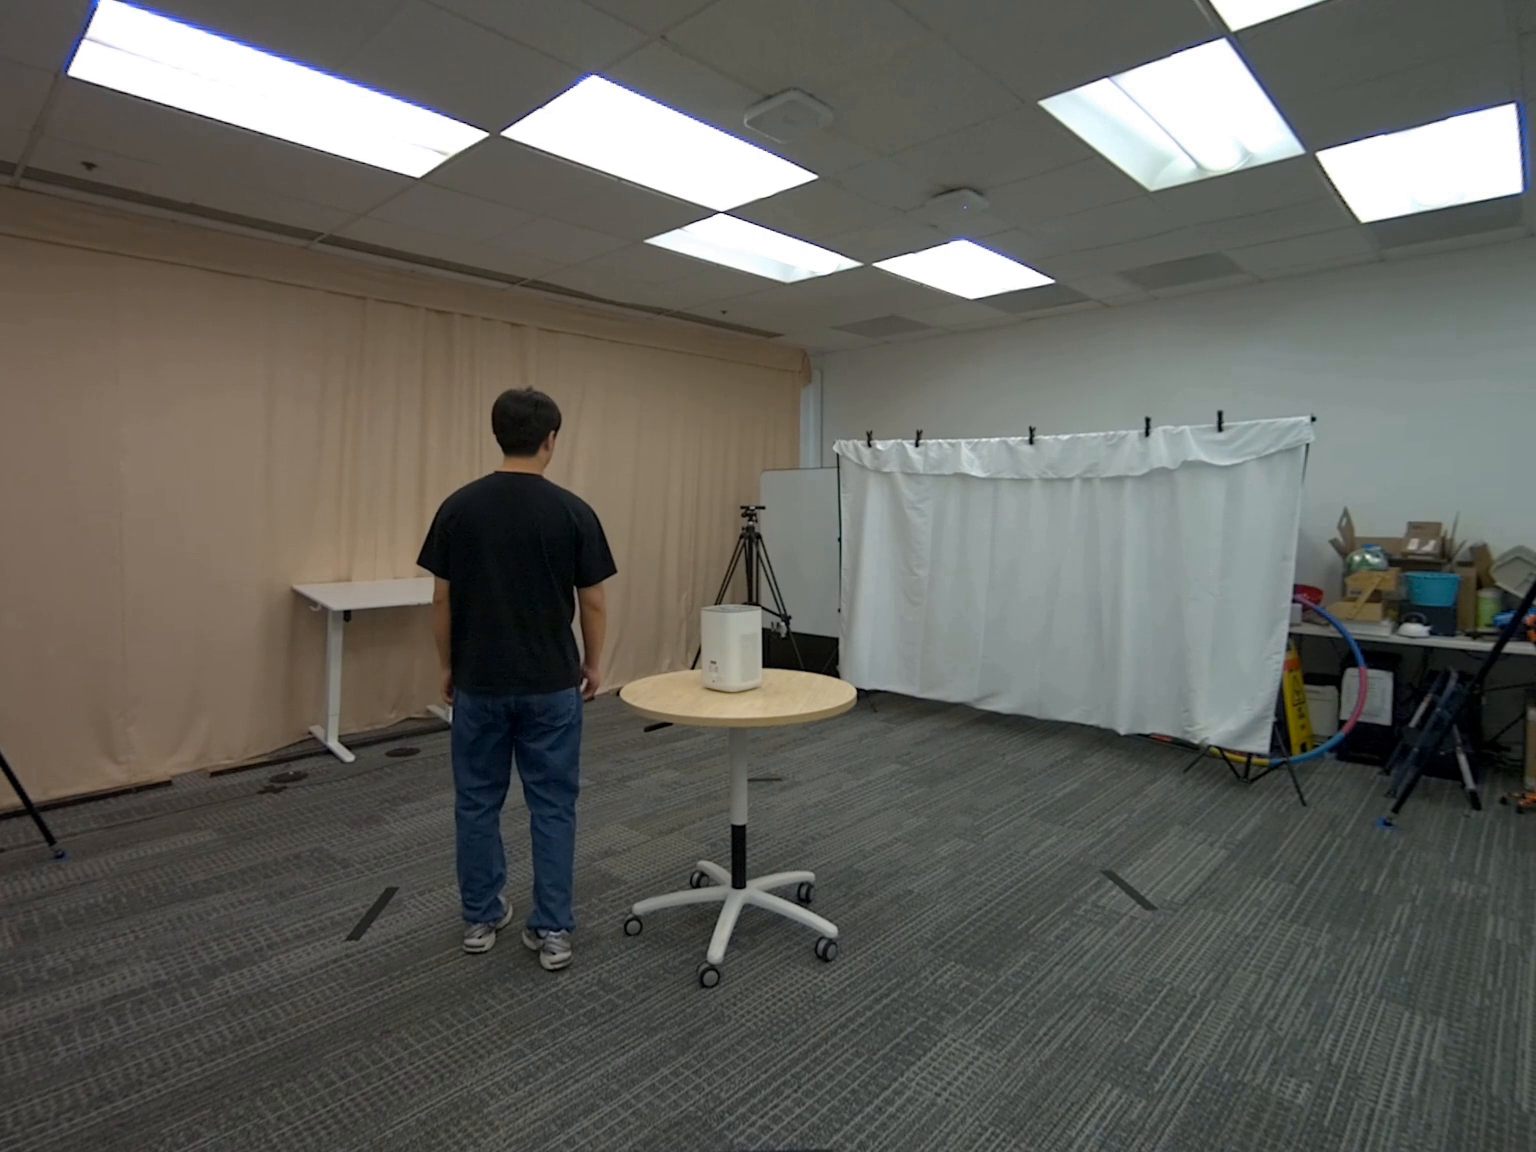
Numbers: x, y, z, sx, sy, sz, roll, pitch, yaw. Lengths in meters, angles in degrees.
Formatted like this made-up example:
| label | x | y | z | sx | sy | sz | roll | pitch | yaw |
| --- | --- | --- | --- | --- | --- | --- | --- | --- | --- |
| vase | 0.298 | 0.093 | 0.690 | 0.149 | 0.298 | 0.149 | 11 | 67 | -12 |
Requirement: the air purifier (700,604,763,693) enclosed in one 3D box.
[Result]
| label | x | y | z | sx | sy | sz | roll | pitch | yaw |
| --- | --- | --- | --- | --- | --- | --- | --- | --- | --- |
| air purifier | -0.109 | 0.239 | 2.761 | 0.177 | 0.265 | 0.166 | 3 | 5 | 41 |
